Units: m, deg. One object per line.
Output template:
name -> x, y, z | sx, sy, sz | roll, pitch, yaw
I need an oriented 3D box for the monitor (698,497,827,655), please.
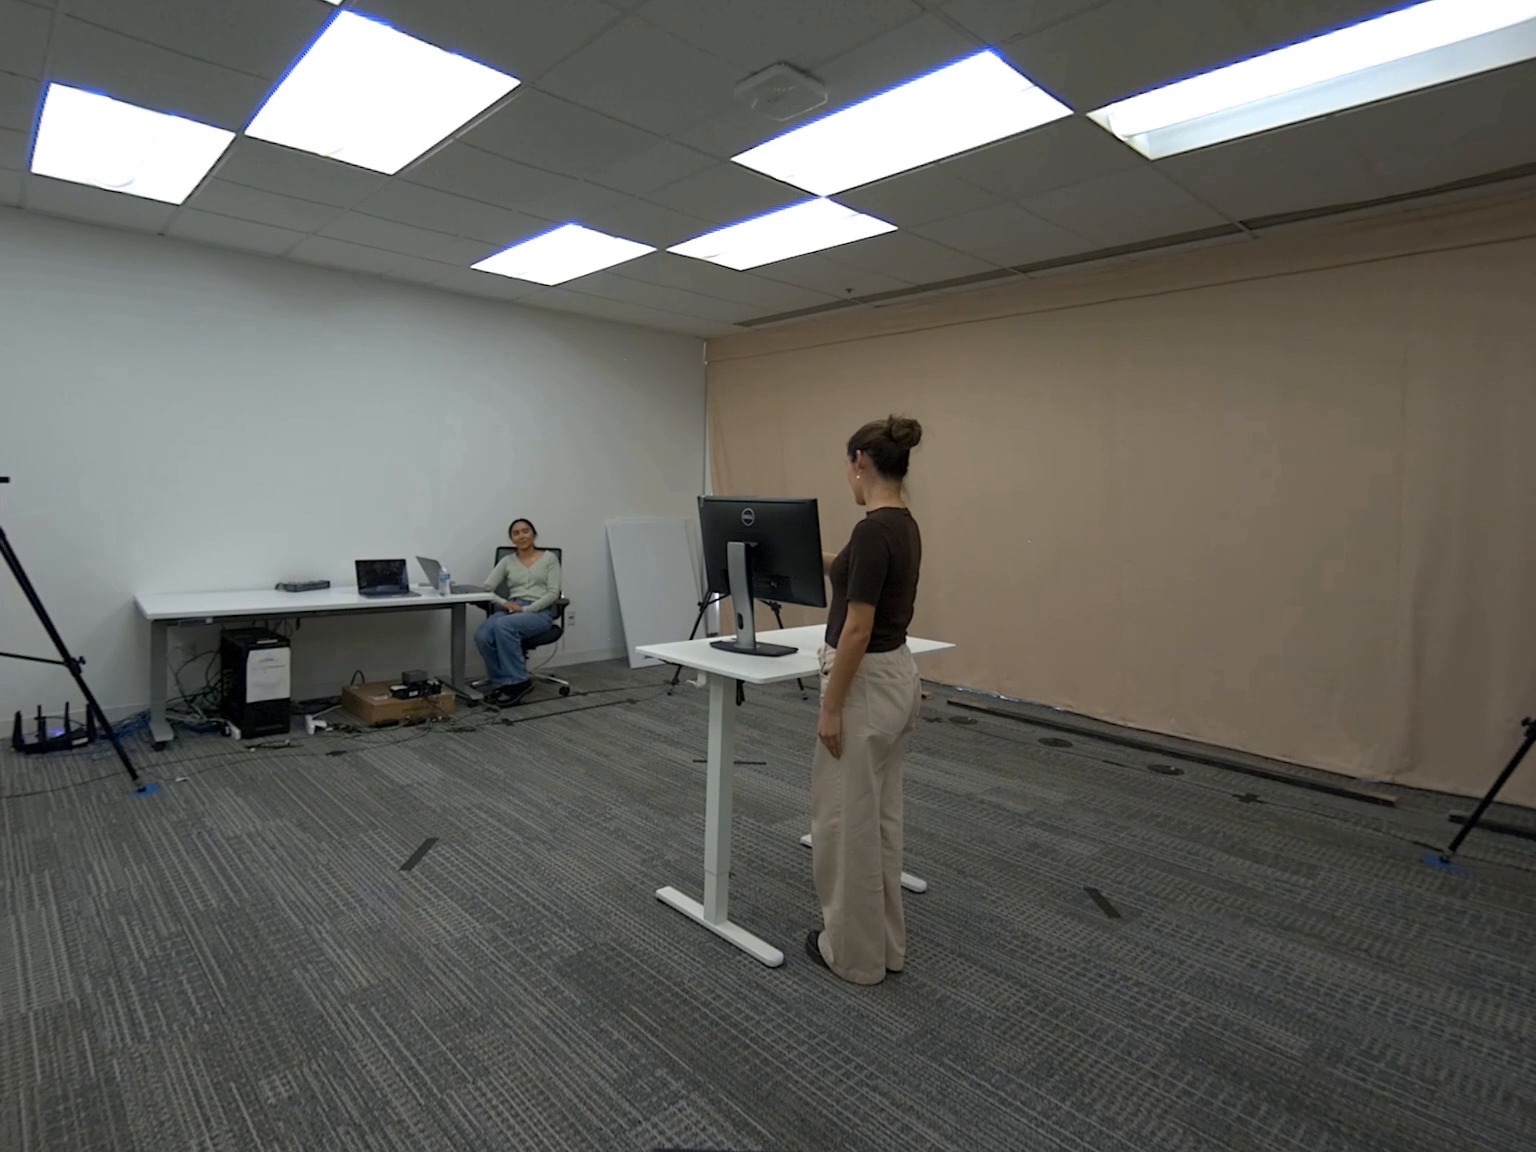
monitor -> -0.059, -0.001, 2.799 | 0.553, 0.521, 0.183 | 5, 4, 43
